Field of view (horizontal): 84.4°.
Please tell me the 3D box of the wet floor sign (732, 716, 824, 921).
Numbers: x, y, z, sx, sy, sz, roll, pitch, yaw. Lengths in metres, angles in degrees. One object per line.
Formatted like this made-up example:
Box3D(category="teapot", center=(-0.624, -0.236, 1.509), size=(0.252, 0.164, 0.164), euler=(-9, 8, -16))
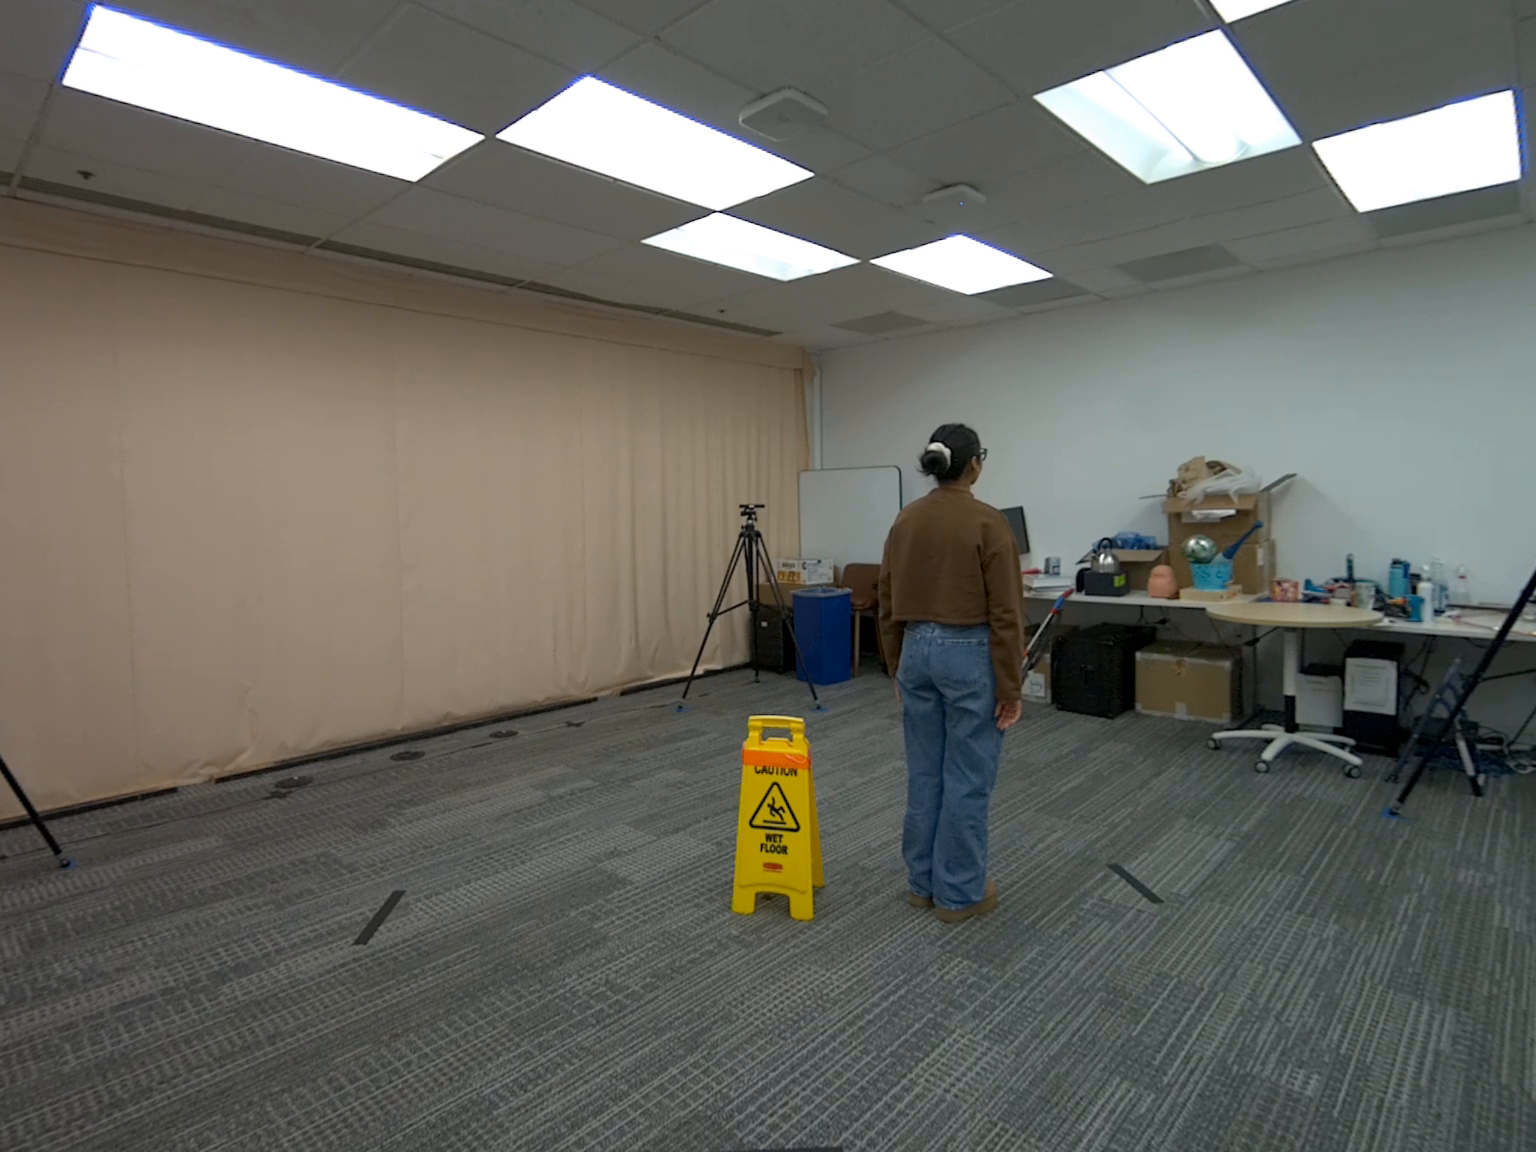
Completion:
Box3D(category="wet floor sign", center=(0.040, 0.821, 2.968), size=(0.287, 0.645, 0.286), euler=(1, 3, 13))
